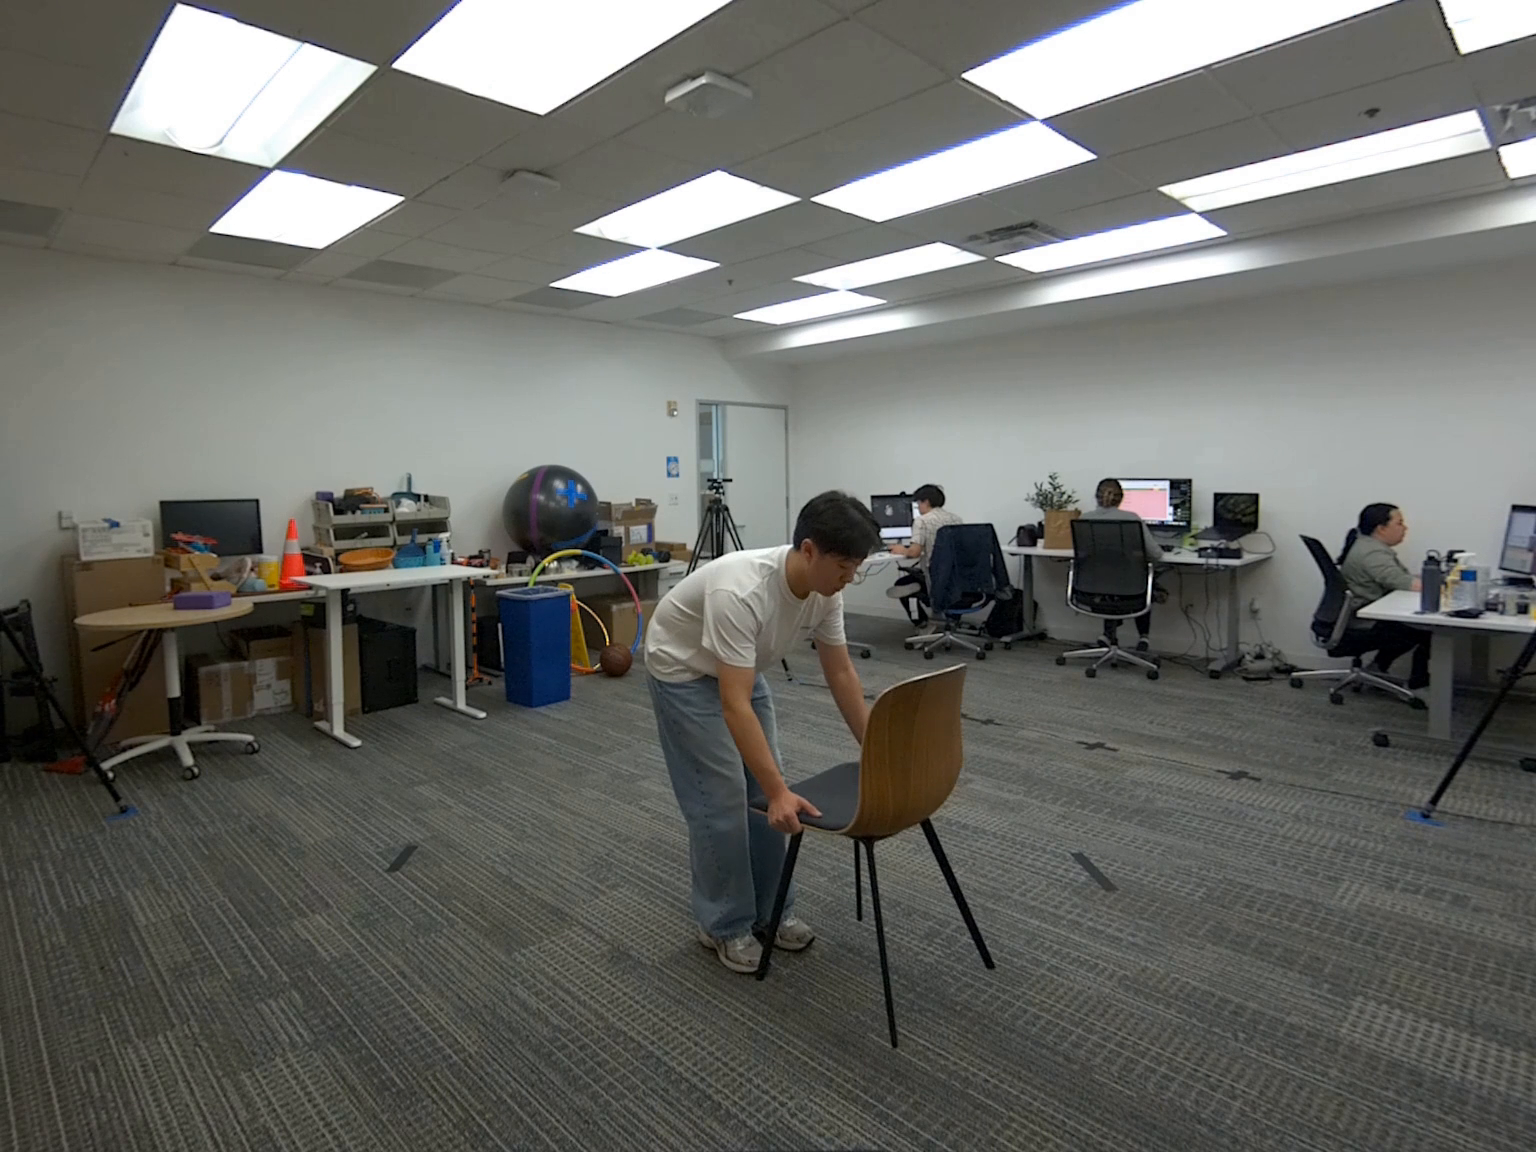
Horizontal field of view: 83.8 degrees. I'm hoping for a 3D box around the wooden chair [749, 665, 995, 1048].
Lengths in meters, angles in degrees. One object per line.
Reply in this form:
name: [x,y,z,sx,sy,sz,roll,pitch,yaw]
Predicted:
wooden chair: [0.245,0.632,2.289,0.466,0.873,0.539,-6,7,-44]
